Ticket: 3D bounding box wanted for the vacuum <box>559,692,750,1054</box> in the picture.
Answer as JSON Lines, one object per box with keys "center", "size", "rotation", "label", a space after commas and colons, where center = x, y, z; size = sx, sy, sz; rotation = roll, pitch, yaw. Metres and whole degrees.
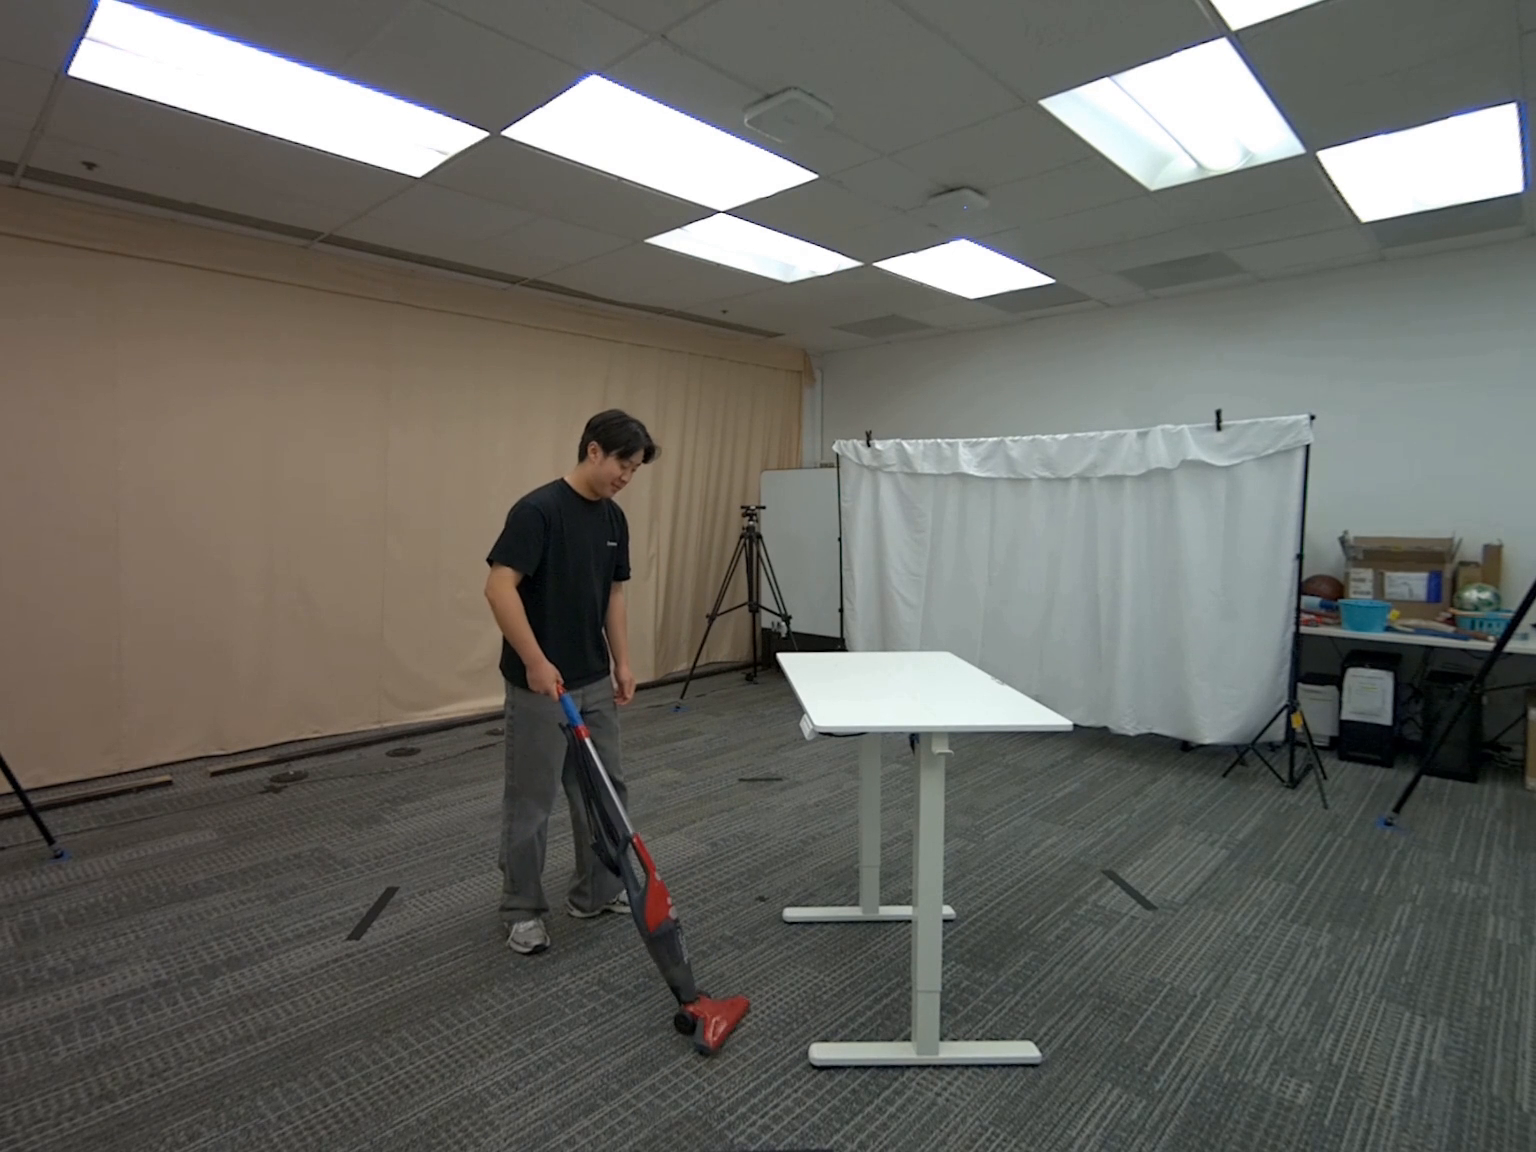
{"center": [-0.399, 0.753, 2.374], "size": [0.145, 1.065, 0.246], "rotation": [-35, -14, 20], "label": "vacuum"}
